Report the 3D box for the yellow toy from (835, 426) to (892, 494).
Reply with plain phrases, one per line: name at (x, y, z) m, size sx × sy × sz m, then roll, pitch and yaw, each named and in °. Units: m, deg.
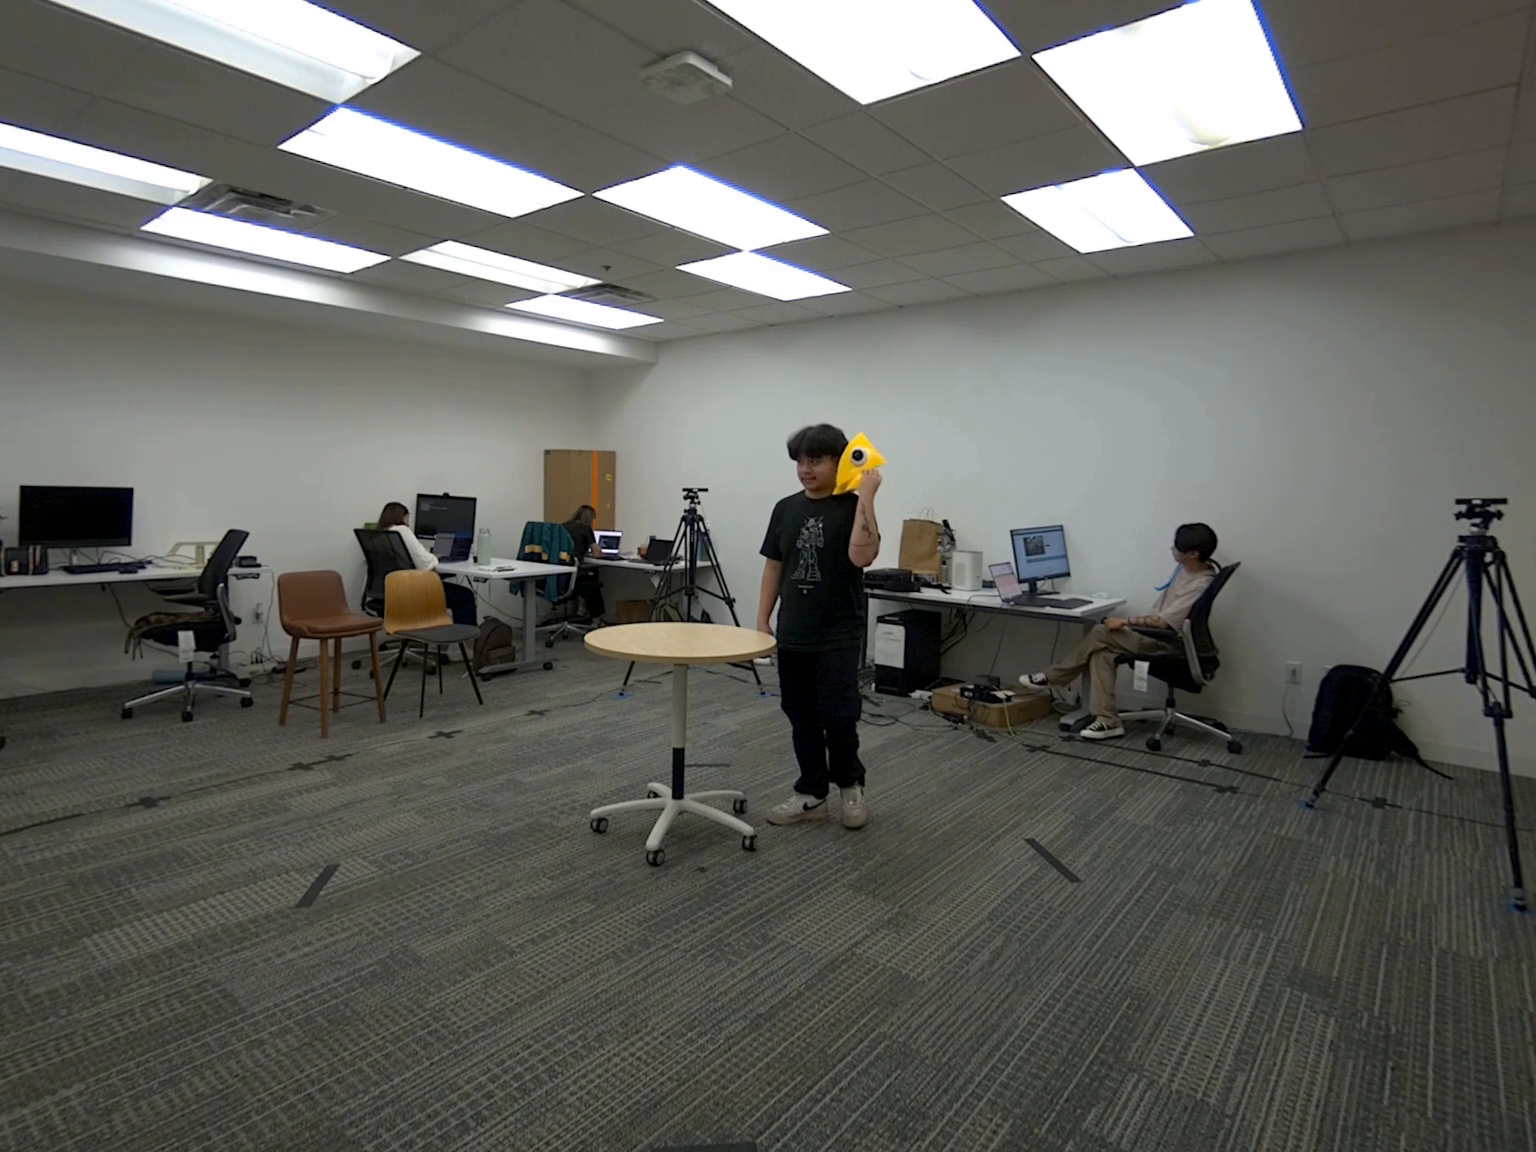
yellow toy at (0.345, -0.468, 3.451) m, size 0.189 × 0.231 × 0.208 m, roll -10°, pitch -1°, yaw -22°
